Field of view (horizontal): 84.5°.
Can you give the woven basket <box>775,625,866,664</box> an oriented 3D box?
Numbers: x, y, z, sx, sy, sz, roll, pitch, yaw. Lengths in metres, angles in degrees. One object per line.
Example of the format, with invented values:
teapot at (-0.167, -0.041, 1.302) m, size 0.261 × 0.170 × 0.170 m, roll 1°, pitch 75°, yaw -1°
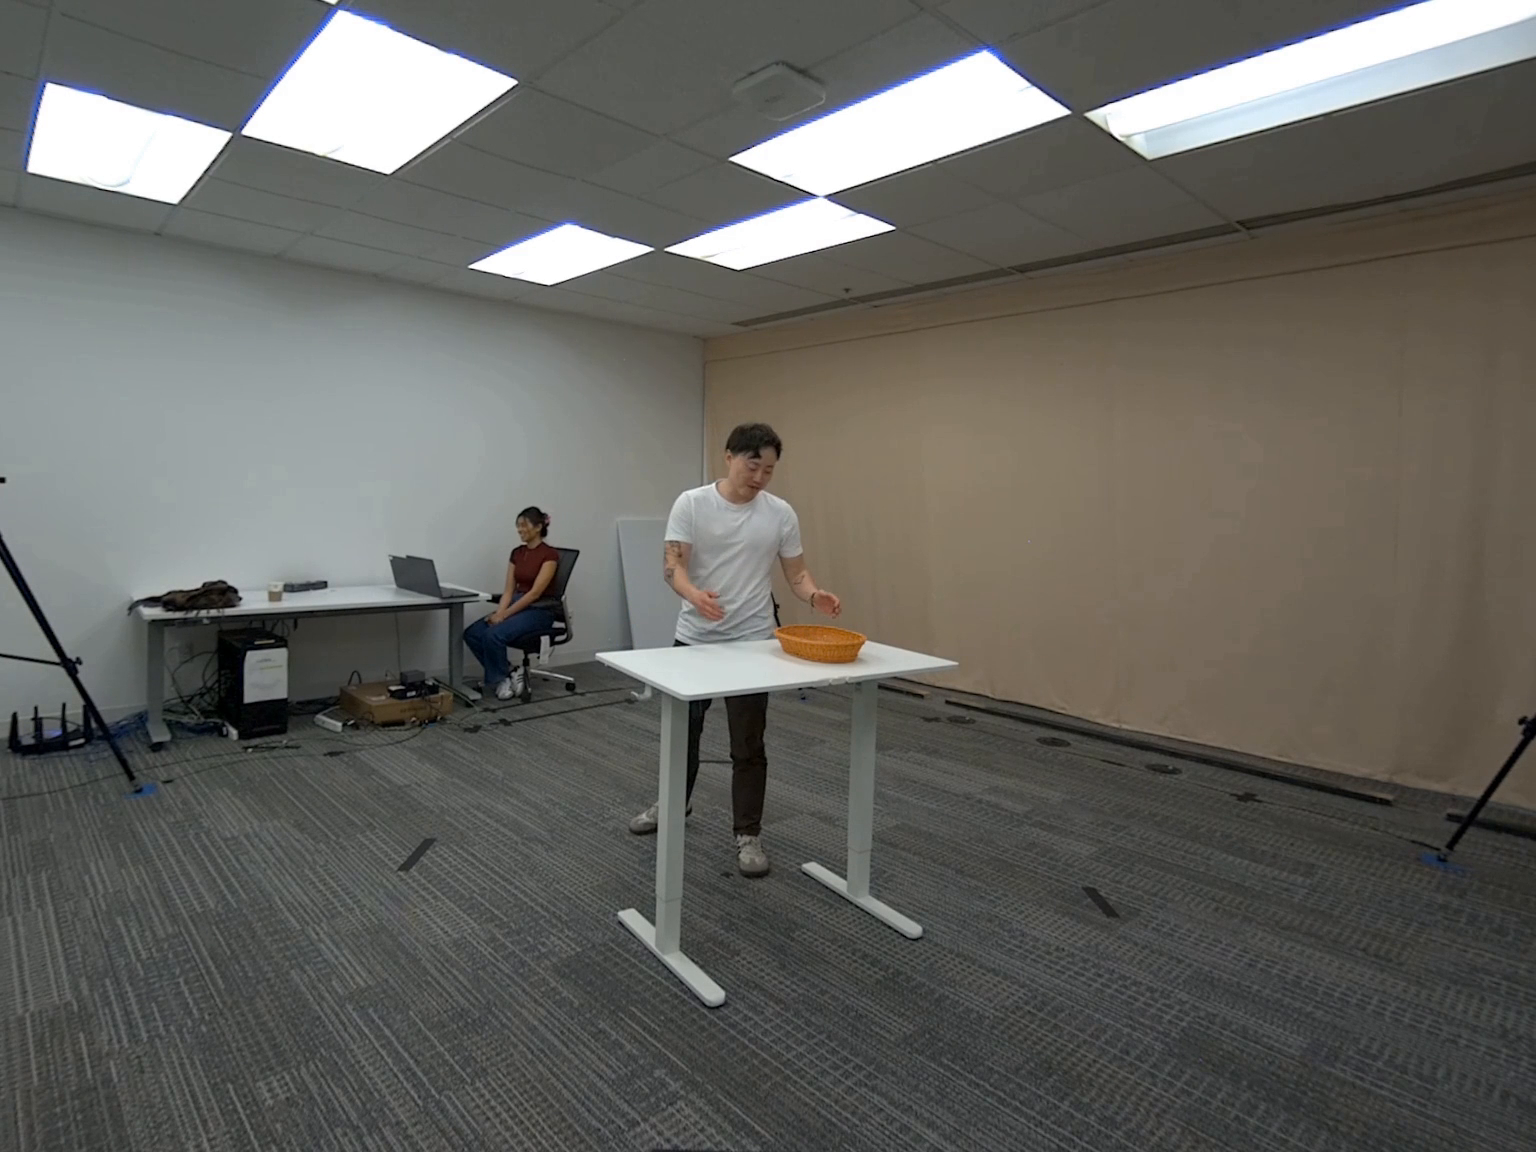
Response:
woven basket at (0.159, 0.233, 2.740) m, size 0.247 × 0.073 × 0.358 m, roll -3°, pitch 7°, yaw -29°
